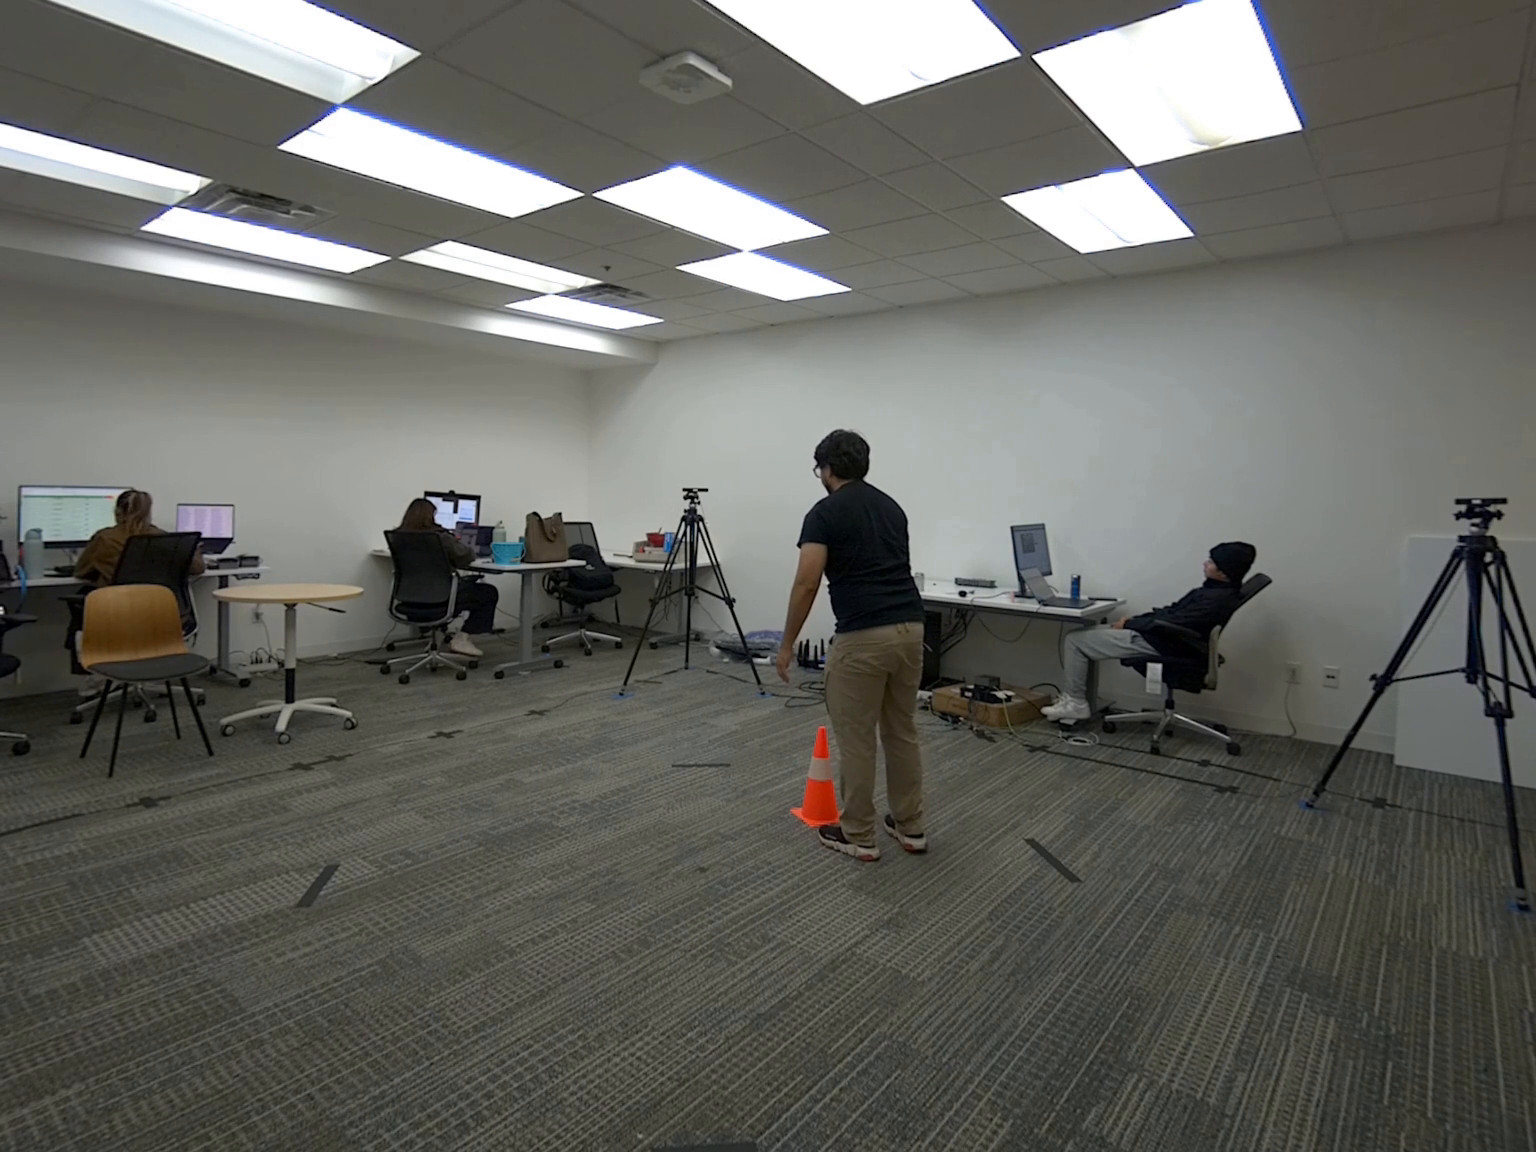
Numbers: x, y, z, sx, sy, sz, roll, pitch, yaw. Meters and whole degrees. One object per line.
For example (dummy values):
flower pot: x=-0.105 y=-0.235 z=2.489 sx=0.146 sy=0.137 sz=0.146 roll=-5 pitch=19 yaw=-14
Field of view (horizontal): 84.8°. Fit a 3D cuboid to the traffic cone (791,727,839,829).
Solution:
traffic cone: x=0.222 y=0.842 z=3.650 sx=0.198 sy=0.382 sz=0.211 roll=-1 pitch=5 yaw=-27
